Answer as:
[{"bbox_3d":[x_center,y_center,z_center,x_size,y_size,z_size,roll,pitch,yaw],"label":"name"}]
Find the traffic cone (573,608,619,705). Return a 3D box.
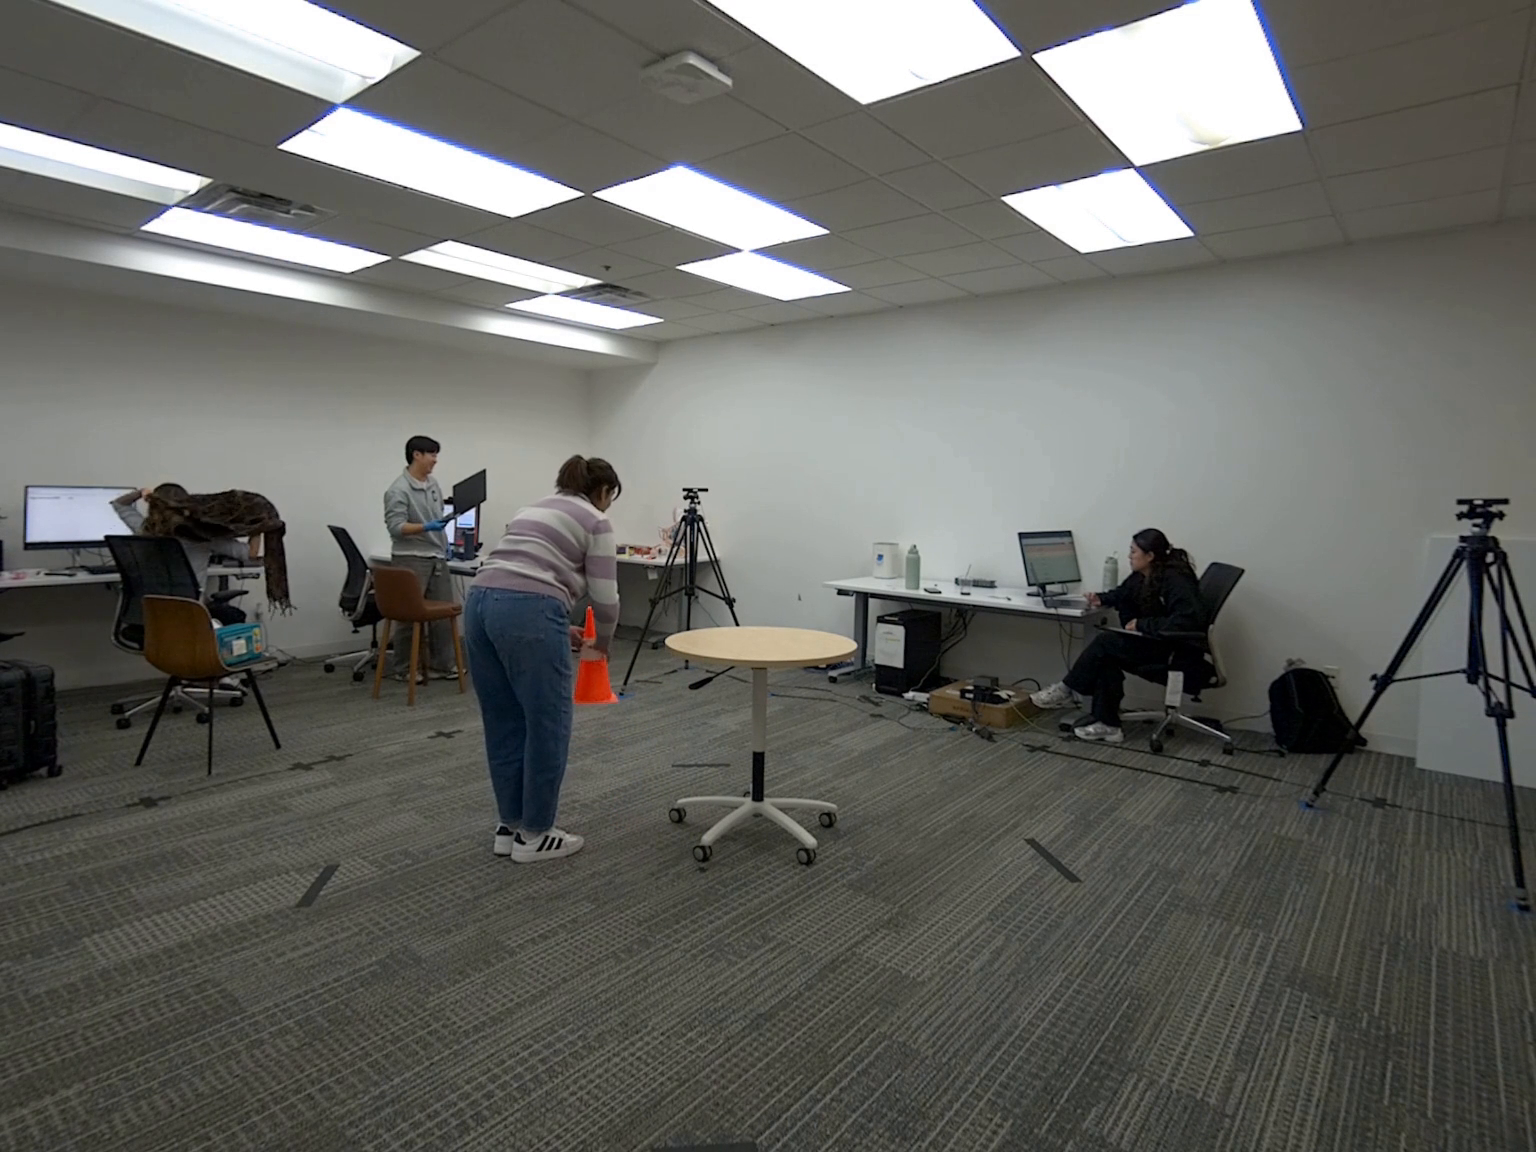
[{"bbox_3d":[-0.745,0.322,3.535,0.200,0.382,0.209,-2,4,-16],"label":"traffic cone"}]
